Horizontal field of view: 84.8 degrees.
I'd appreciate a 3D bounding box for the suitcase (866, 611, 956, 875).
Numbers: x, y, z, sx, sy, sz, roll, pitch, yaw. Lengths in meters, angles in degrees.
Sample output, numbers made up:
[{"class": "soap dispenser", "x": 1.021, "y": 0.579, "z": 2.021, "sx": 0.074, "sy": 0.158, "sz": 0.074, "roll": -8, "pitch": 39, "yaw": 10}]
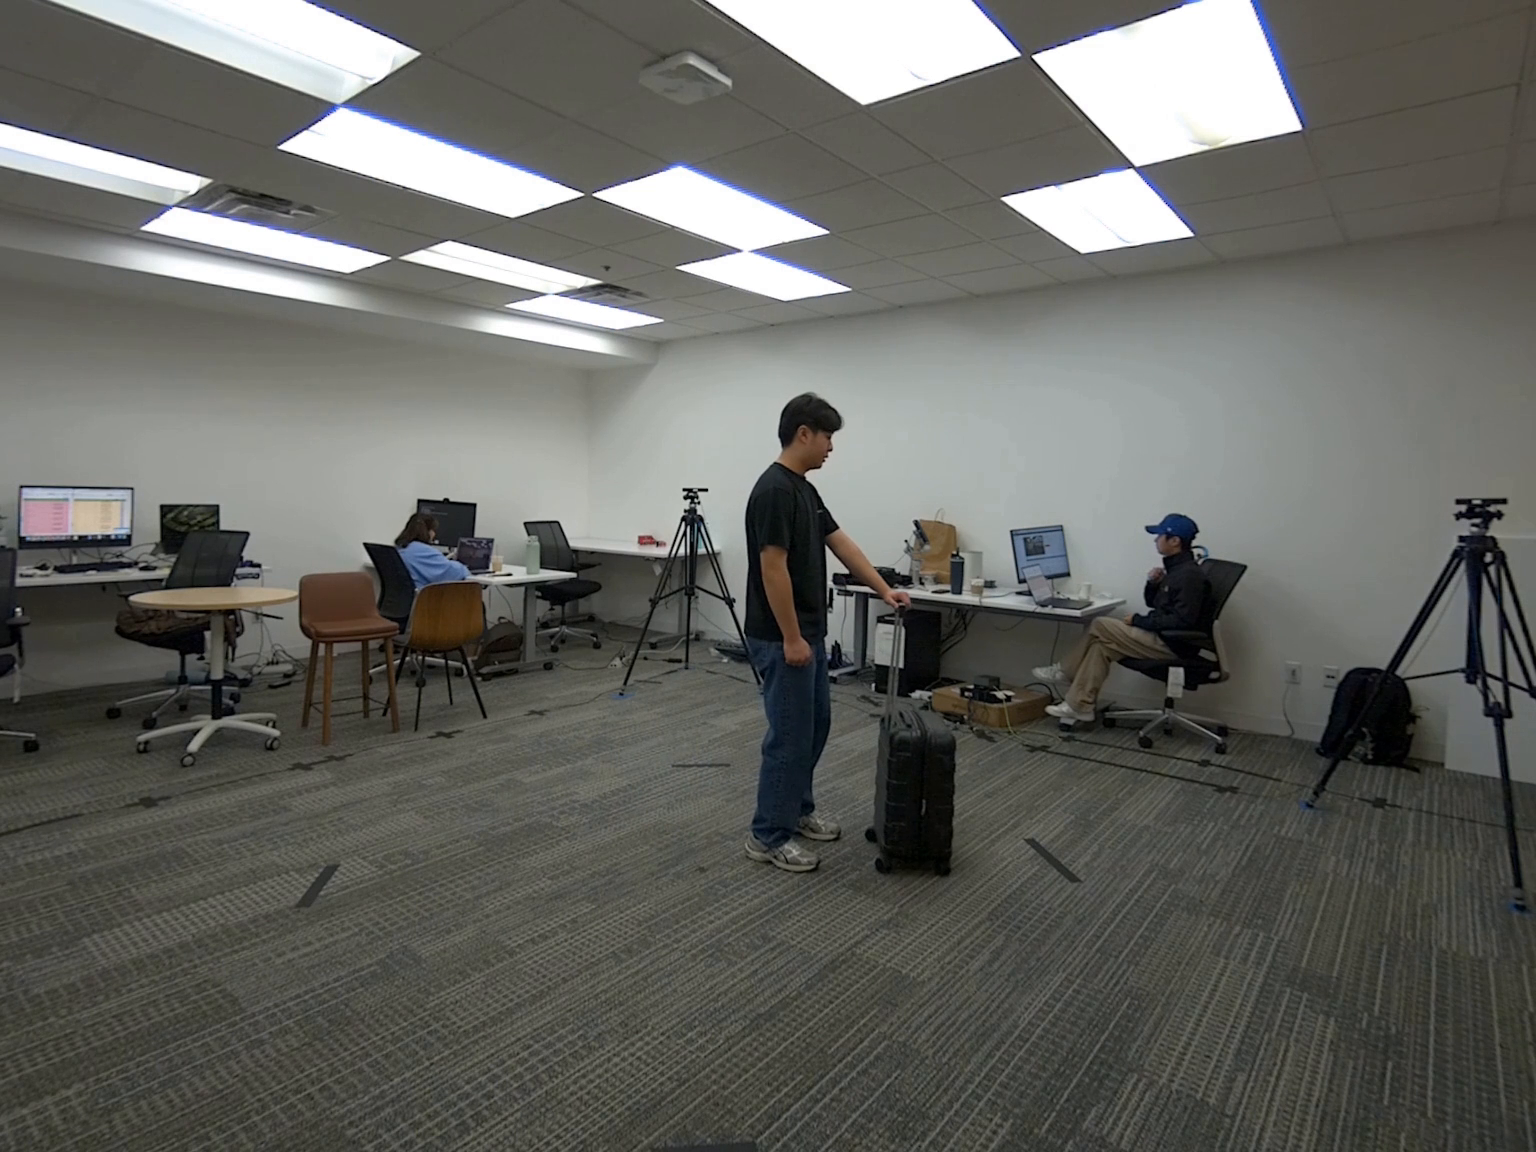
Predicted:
[{"class": "suitcase", "x": 0.569, "y": 0.602, "z": 3.224, "sx": 0.257, "sy": 0.975, "sz": 0.385, "roll": 6, "pitch": 4, "yaw": 0}]
